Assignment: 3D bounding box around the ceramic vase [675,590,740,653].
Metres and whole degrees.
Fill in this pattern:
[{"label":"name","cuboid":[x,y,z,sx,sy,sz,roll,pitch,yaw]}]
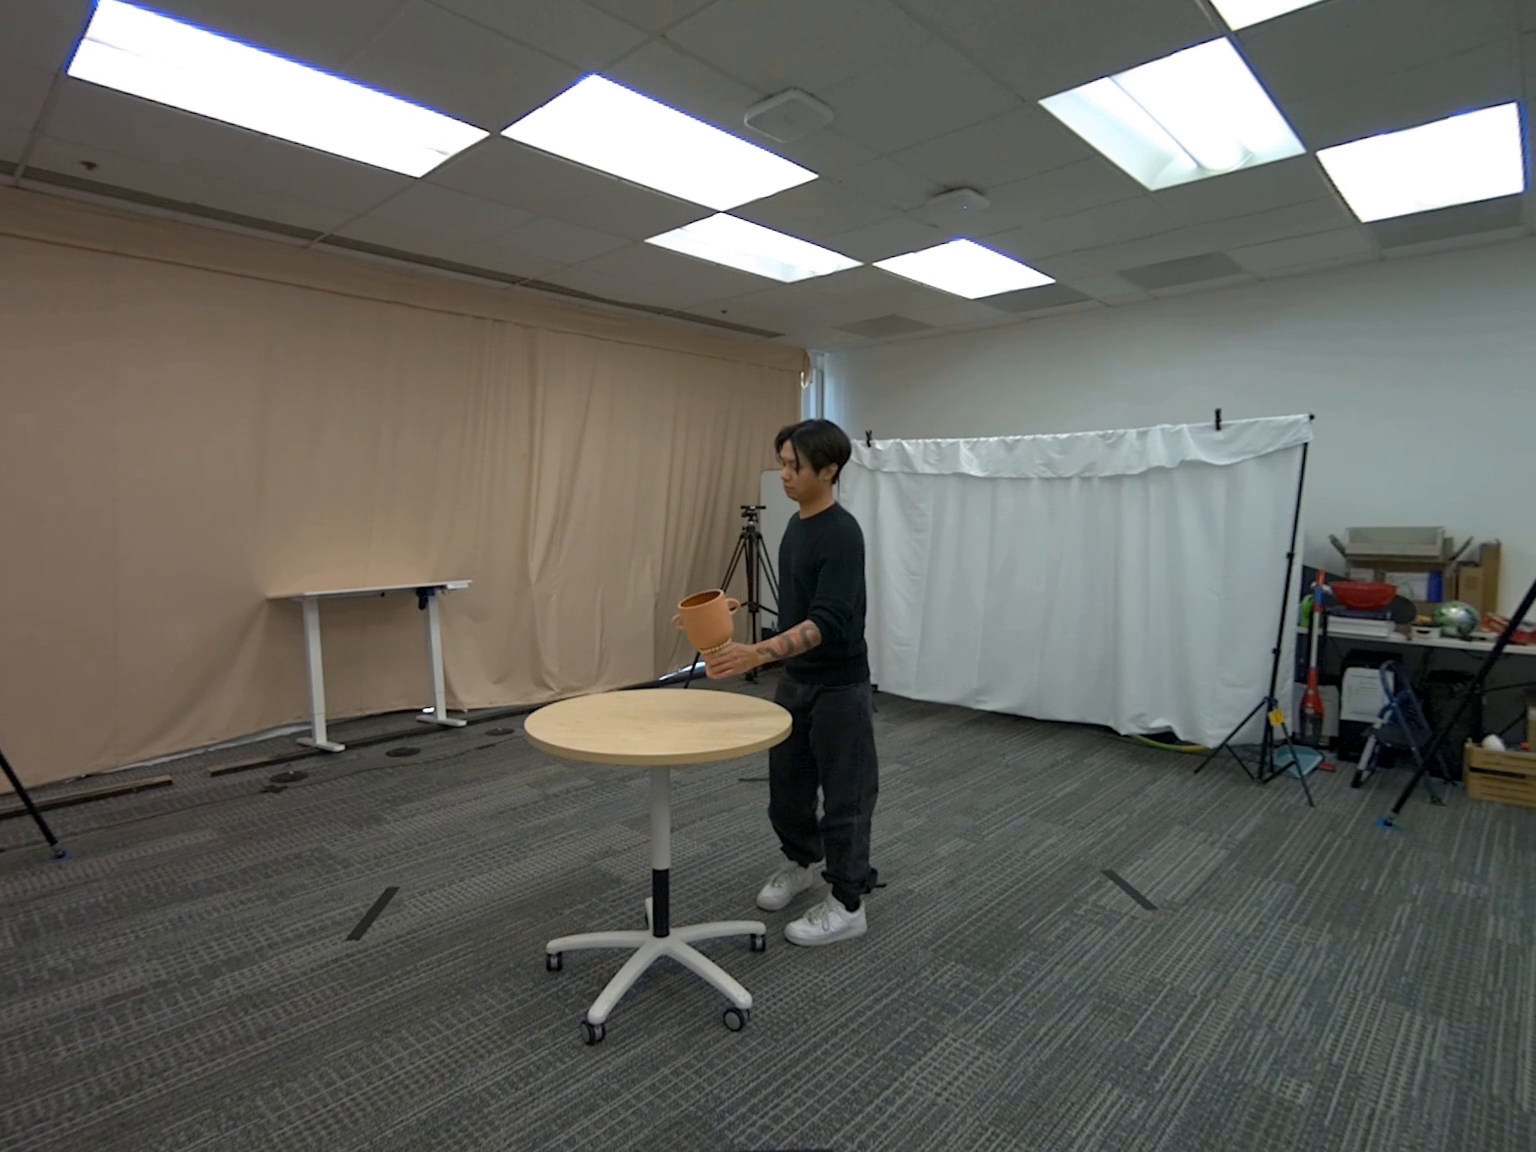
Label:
[{"label":"ceramic vase","cuboid":[-0.151,0.165,2.347,0.163,0.217,0.132,-7,15,35]}]
